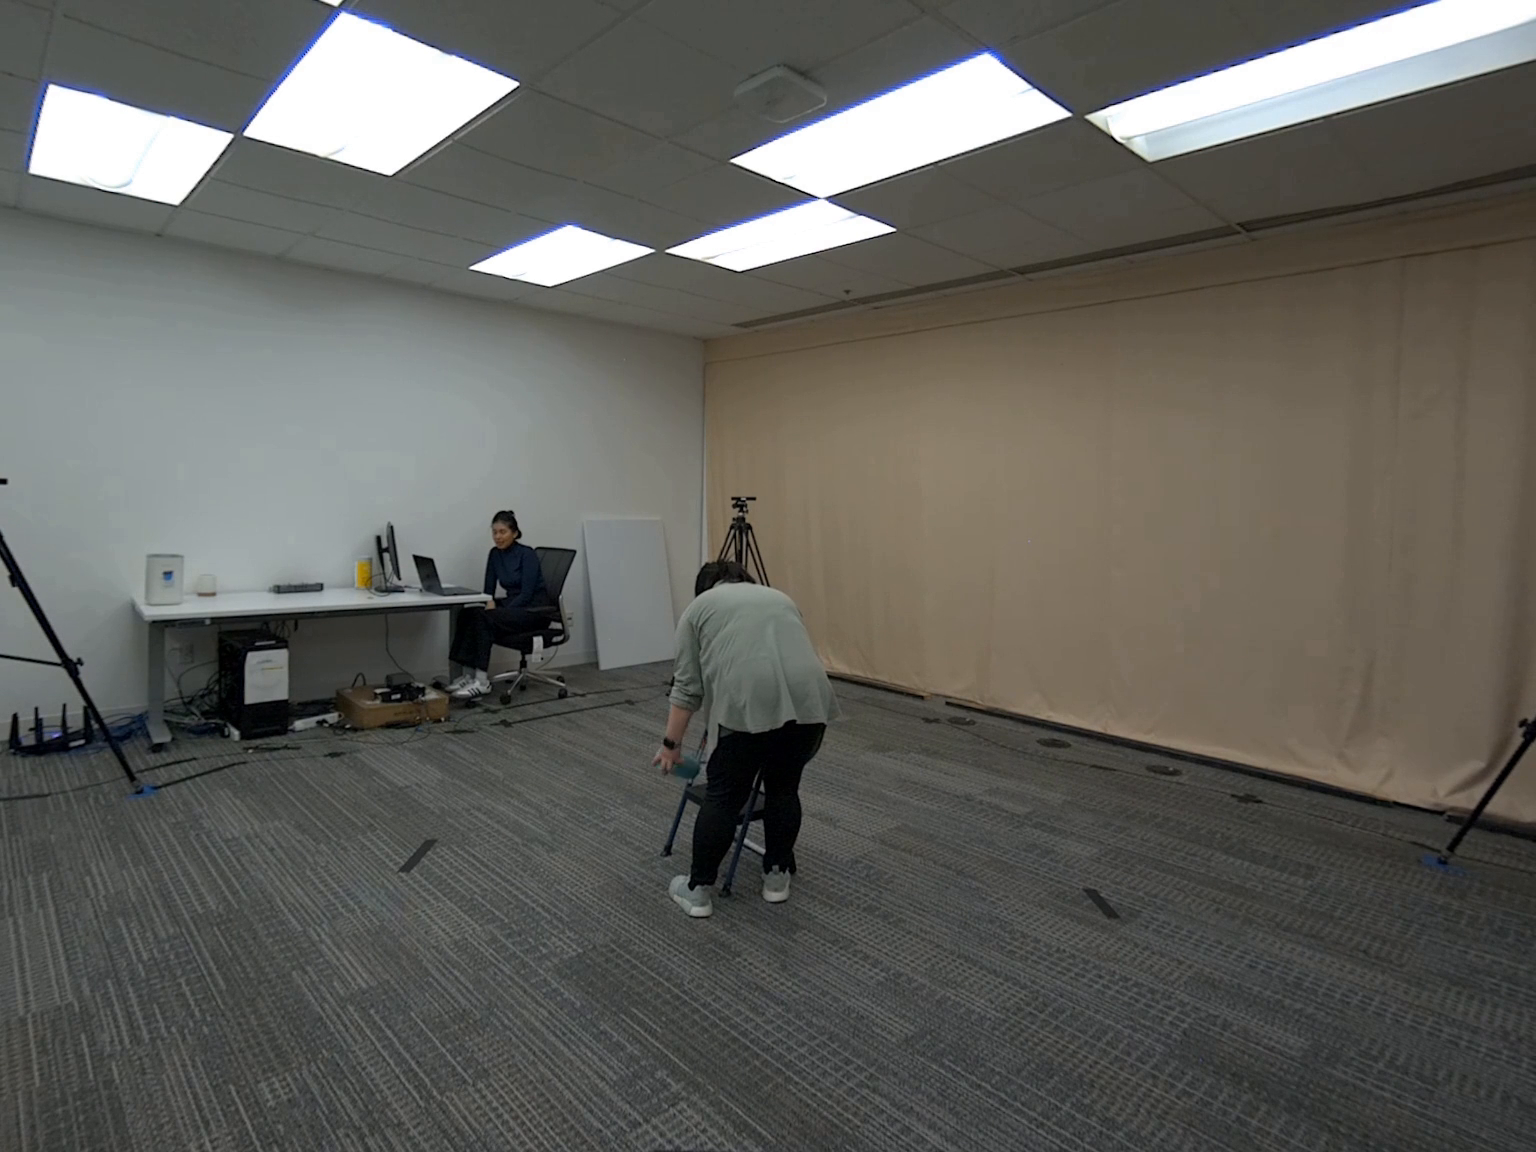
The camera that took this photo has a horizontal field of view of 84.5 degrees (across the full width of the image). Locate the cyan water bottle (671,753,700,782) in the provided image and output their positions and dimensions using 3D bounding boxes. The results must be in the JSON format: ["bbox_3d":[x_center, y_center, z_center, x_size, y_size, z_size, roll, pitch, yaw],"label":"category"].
[{"bbox_3d":[-0.321,0.682,3.091,0.094,0.093,0.276,3,-18,19],"label":"cyan water bottle"}]
